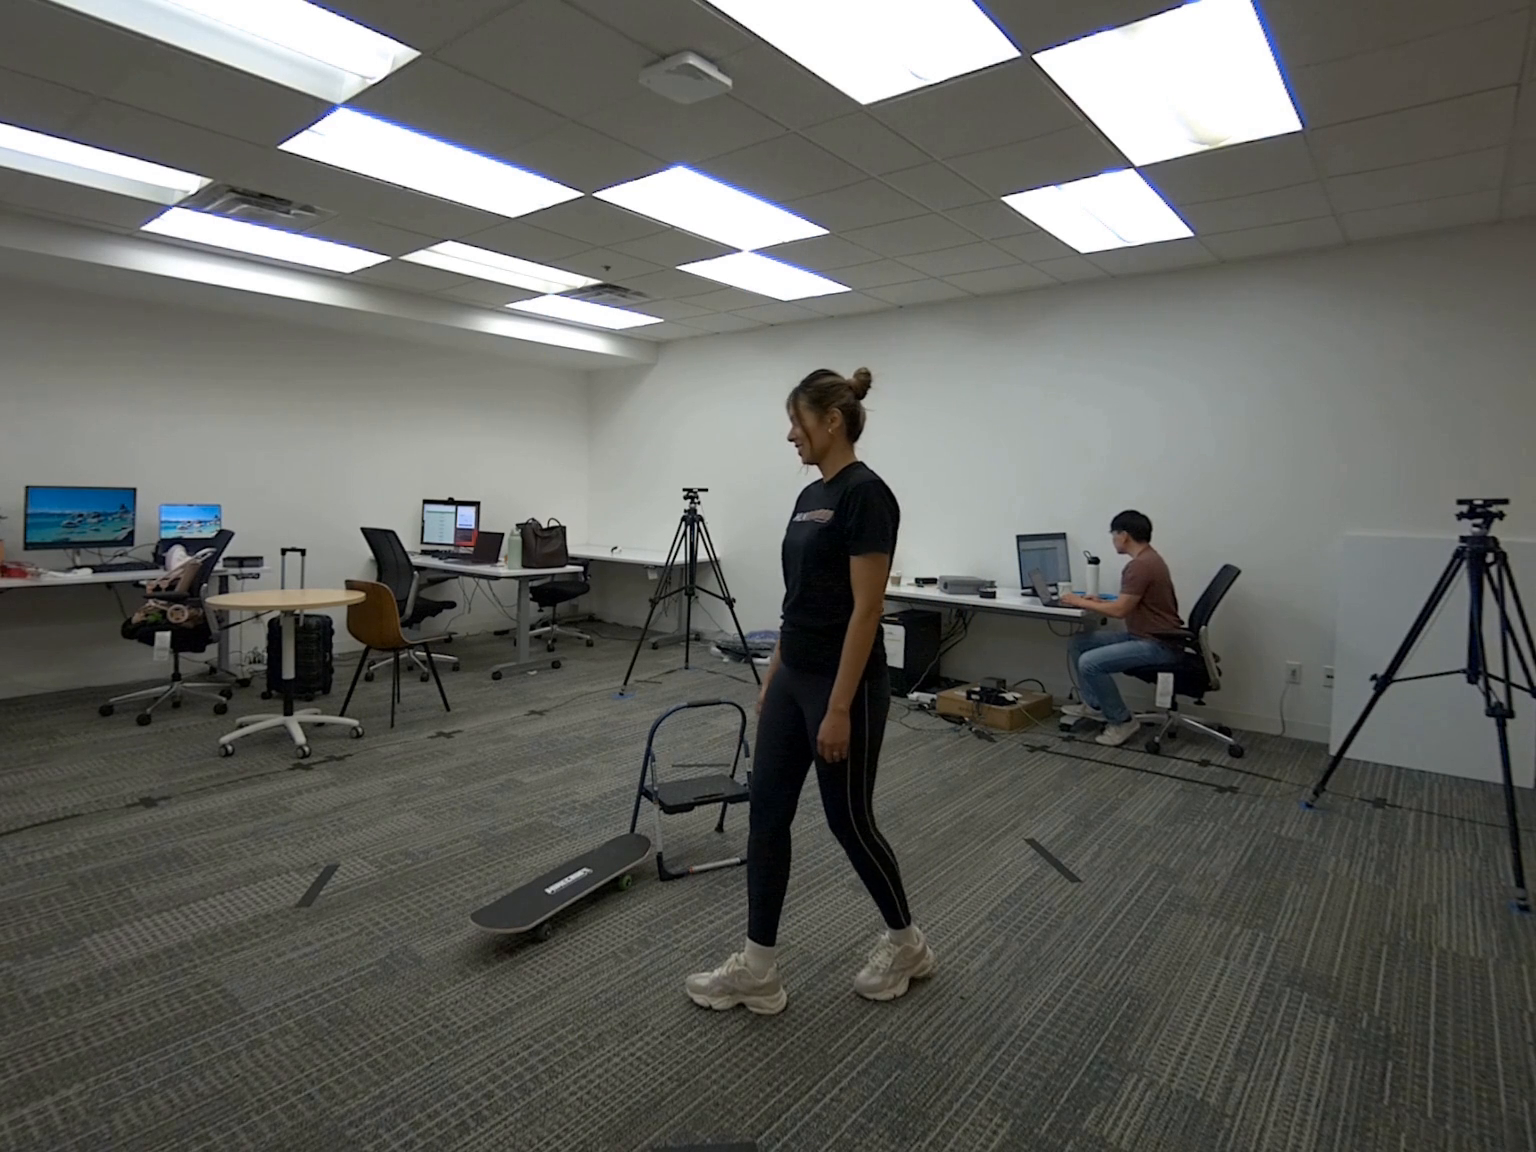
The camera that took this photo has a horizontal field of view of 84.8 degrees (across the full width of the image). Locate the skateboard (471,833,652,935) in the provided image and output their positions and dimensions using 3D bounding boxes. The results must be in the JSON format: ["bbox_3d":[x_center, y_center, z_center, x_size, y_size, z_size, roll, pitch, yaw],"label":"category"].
[{"bbox_3d":[-0.667,1.036,2.812,0.199,0.110,0.766,5,7,29],"label":"skateboard"}]
